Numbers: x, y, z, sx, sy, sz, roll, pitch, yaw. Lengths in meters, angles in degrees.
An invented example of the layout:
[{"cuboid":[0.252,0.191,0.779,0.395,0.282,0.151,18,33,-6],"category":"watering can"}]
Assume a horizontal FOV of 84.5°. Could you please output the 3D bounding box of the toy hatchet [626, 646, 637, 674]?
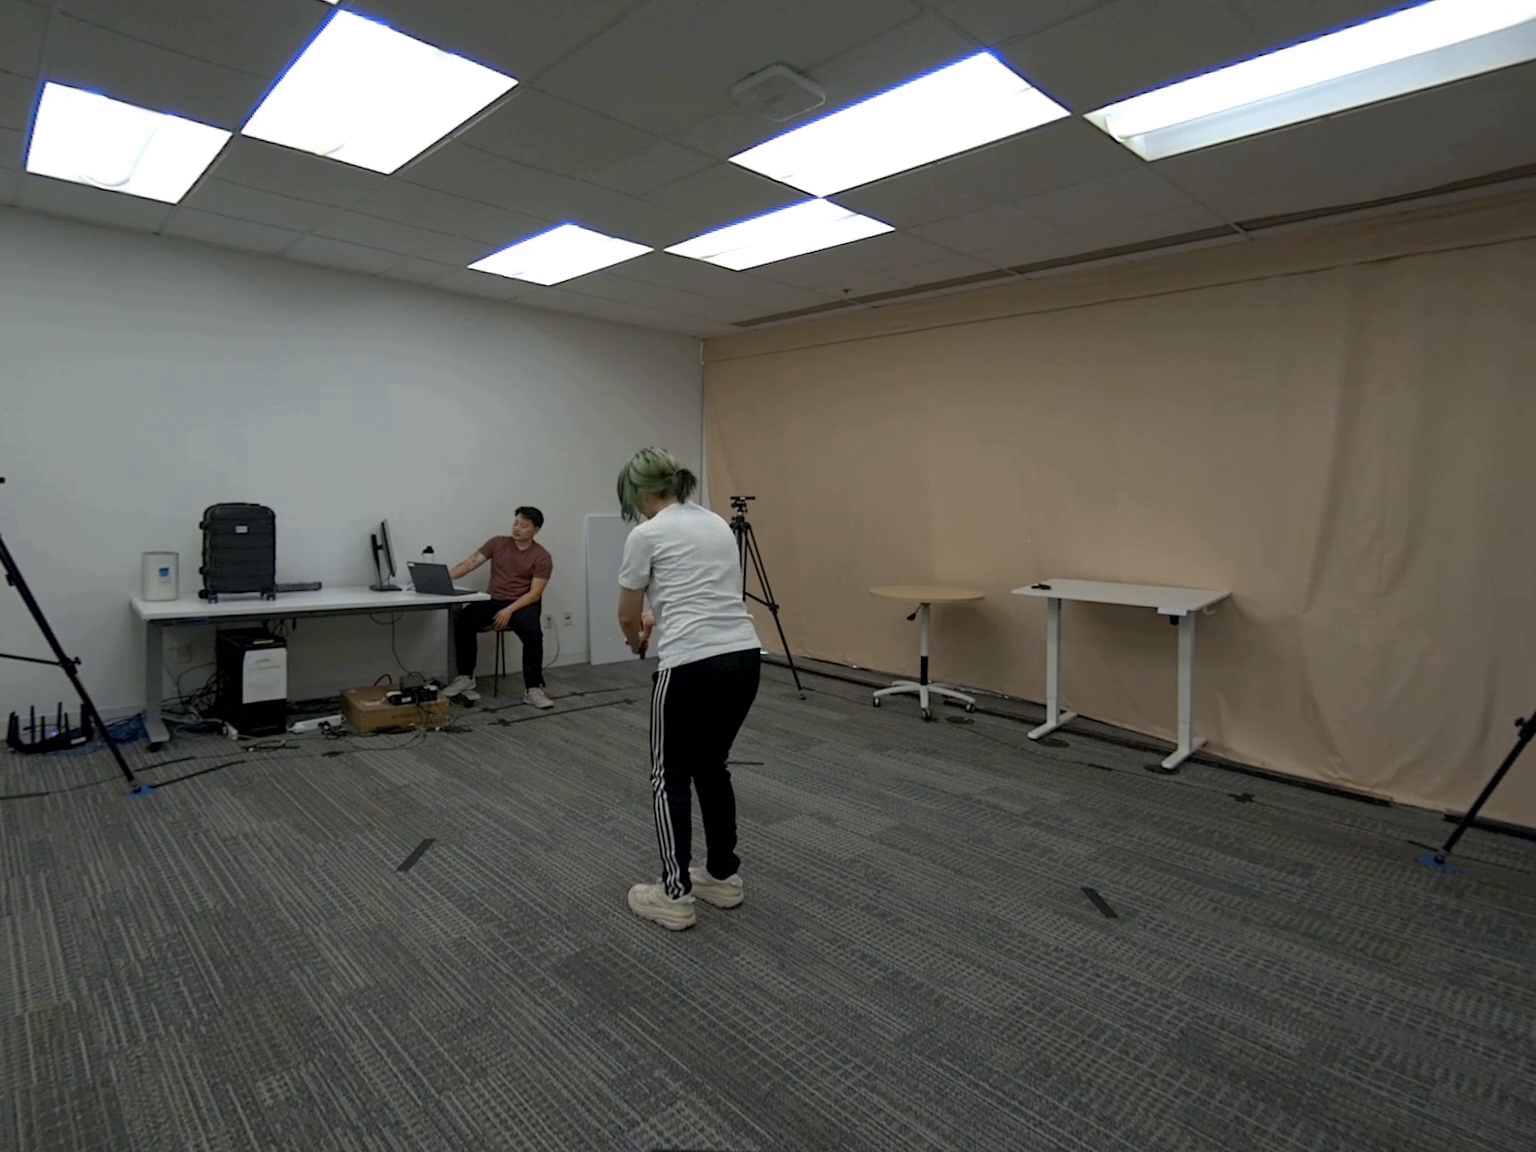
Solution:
[{"cuboid":[-0.509,0.218,3.217,0.029,0.129,0.276,6,43,-10],"category":"toy hatchet"}]
